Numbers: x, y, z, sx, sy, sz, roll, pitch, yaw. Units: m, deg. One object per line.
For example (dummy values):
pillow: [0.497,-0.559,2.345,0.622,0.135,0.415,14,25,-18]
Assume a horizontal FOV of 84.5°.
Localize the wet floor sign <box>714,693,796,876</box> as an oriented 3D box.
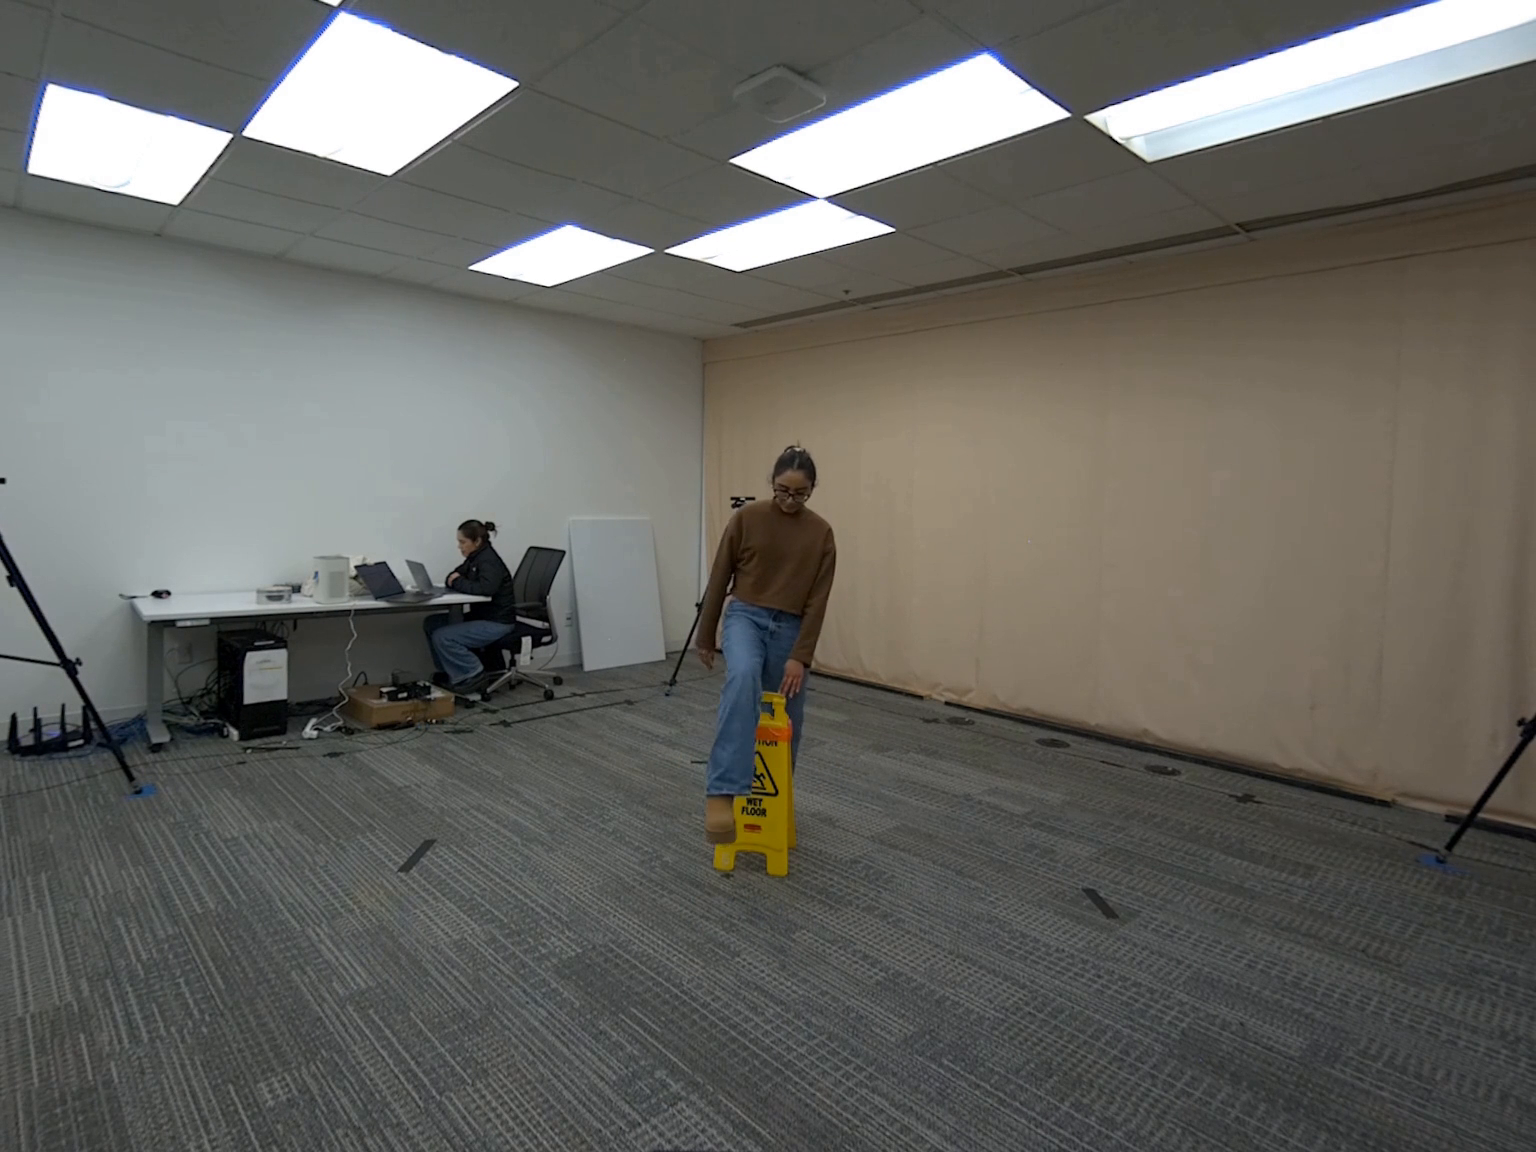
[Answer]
wet floor sign: [-0.050,0.780,3.259,0.285,0.645,0.288,2,3,10]
